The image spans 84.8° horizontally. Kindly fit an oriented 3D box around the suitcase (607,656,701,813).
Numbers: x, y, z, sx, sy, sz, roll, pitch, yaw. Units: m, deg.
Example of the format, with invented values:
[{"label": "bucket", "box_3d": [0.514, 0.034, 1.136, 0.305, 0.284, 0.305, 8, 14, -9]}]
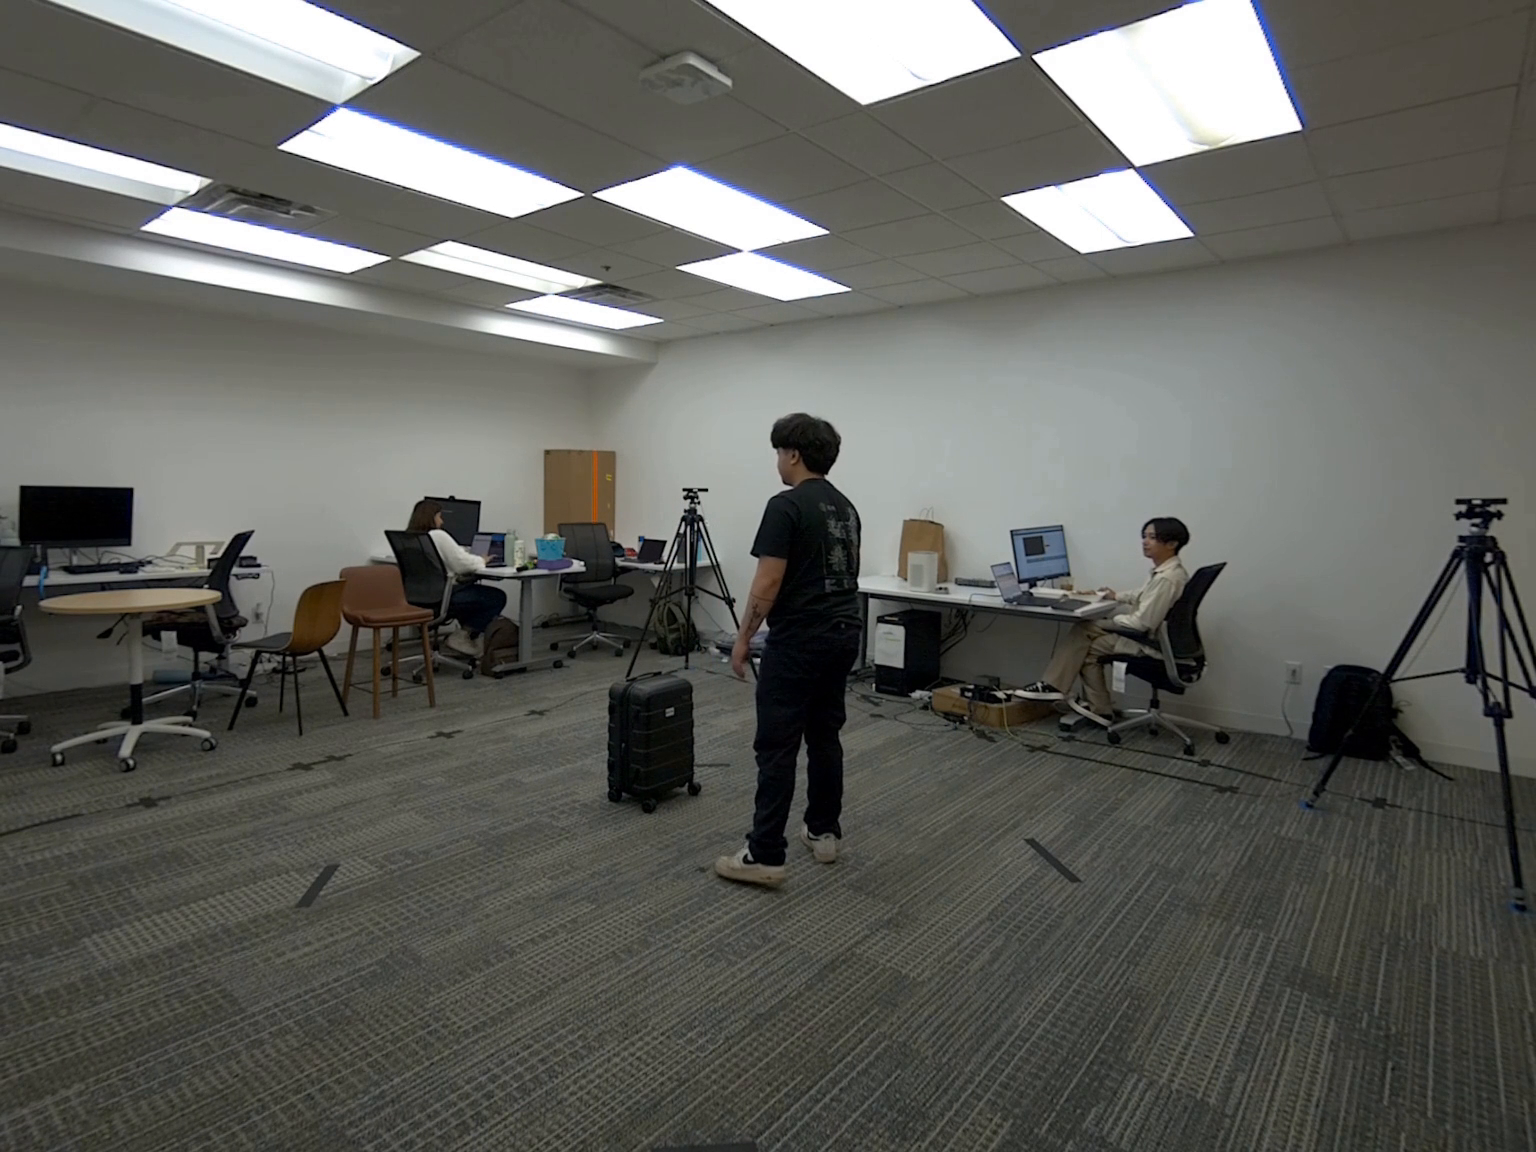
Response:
[{"label": "suitcase", "box_3d": [-0.534, 0.718, 3.835, 0.256, 0.548, 0.364, 1, 3, 38]}]
